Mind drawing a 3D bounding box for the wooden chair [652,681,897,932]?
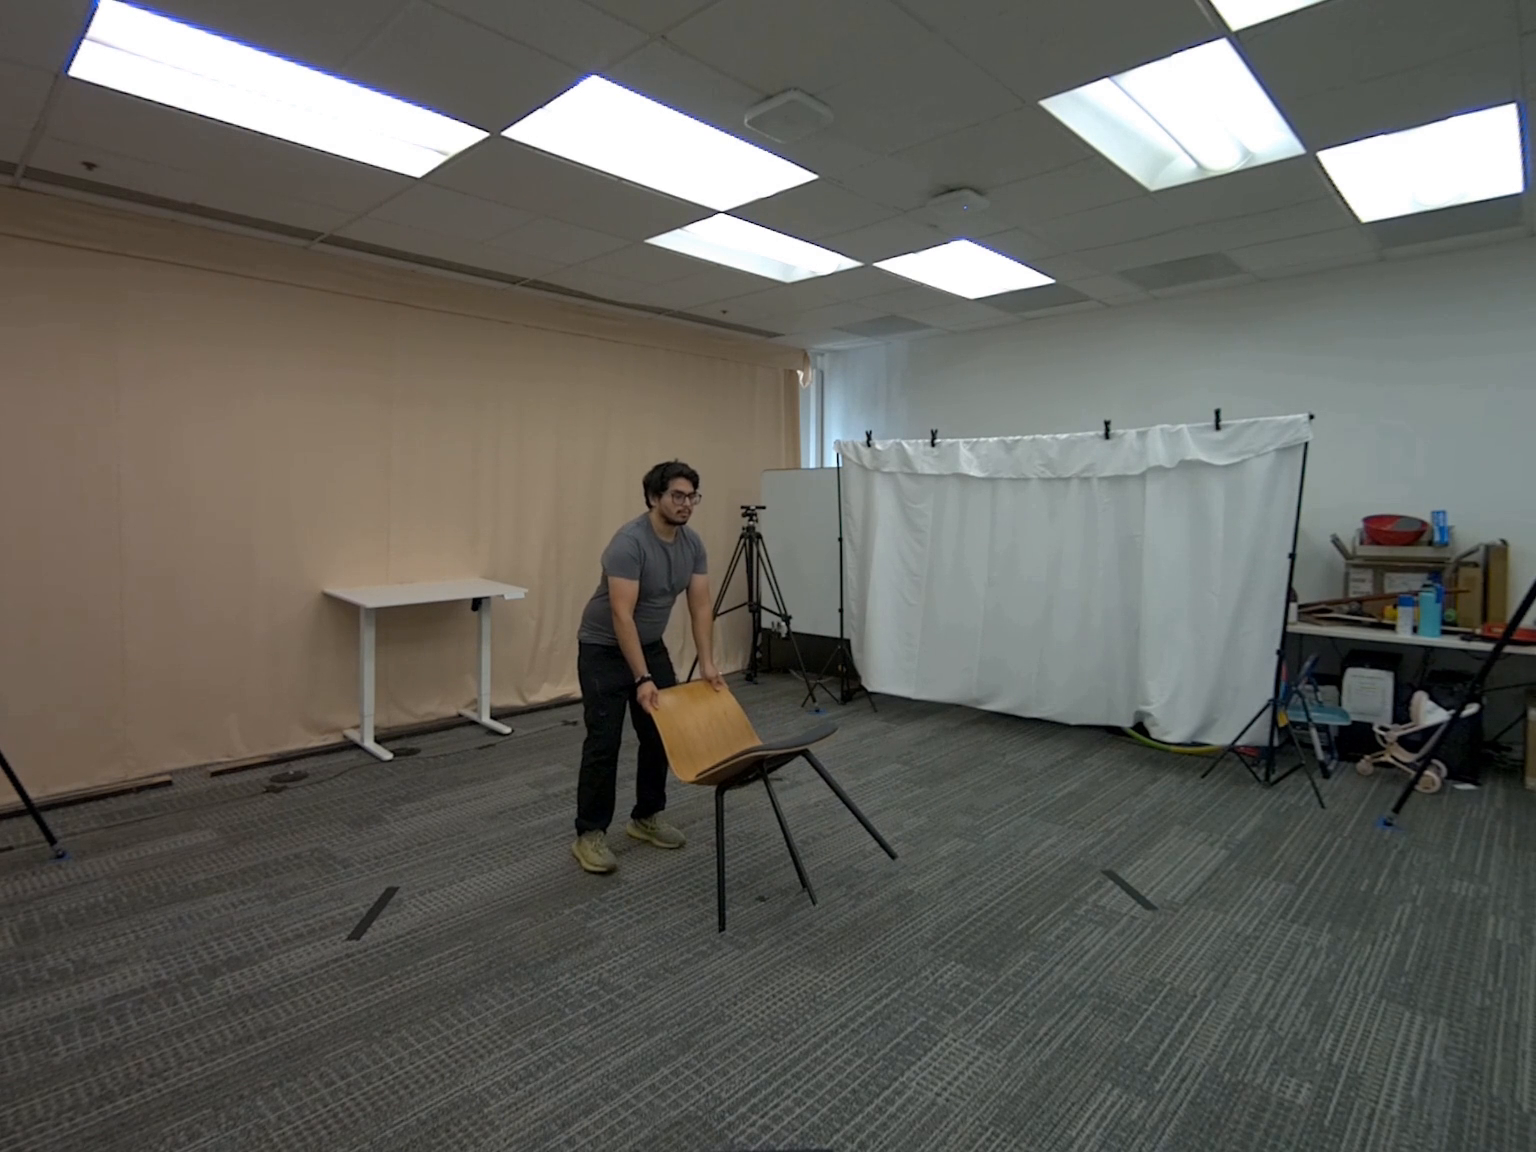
[{"bbox_3d":[-0.015,0.666,2.876,0.463,0.895,0.529,-4,-30,-48],"label":"wooden chair"}]
